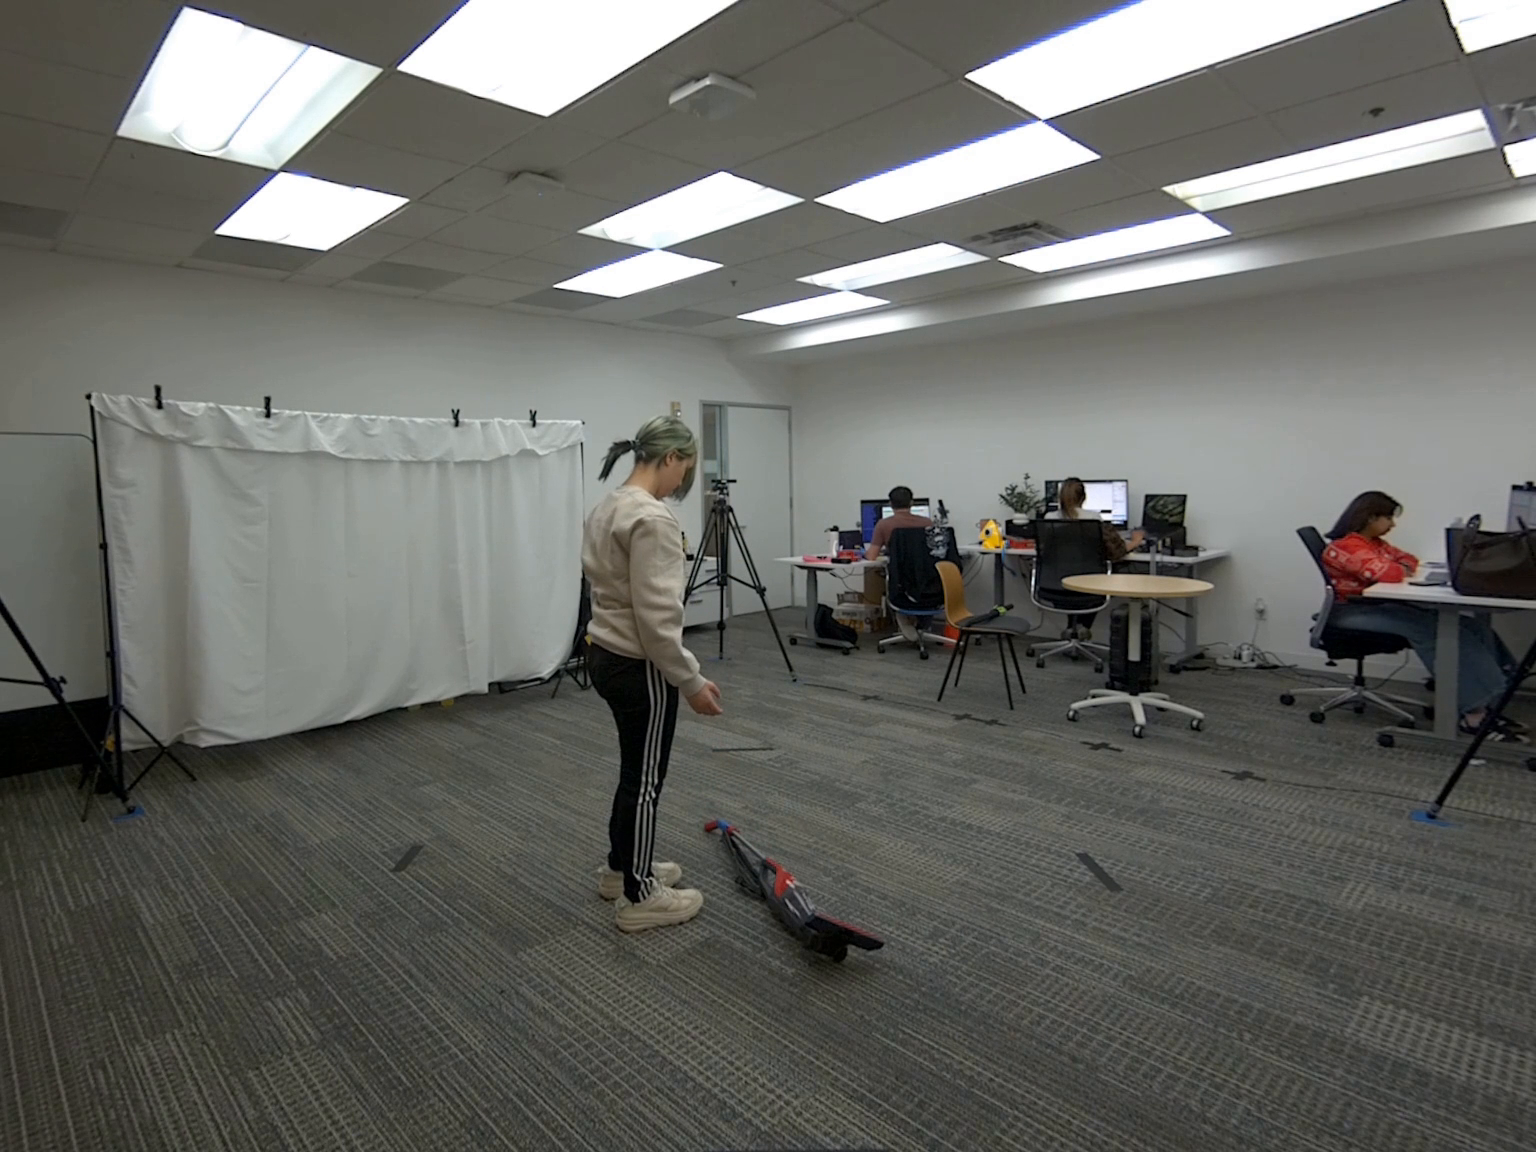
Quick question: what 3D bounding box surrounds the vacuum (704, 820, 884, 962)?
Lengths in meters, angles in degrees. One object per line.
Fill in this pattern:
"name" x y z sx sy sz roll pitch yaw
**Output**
"vacuum" -0.023 1.019 2.916 0.247 0.144 1.069 29 -10 -20
